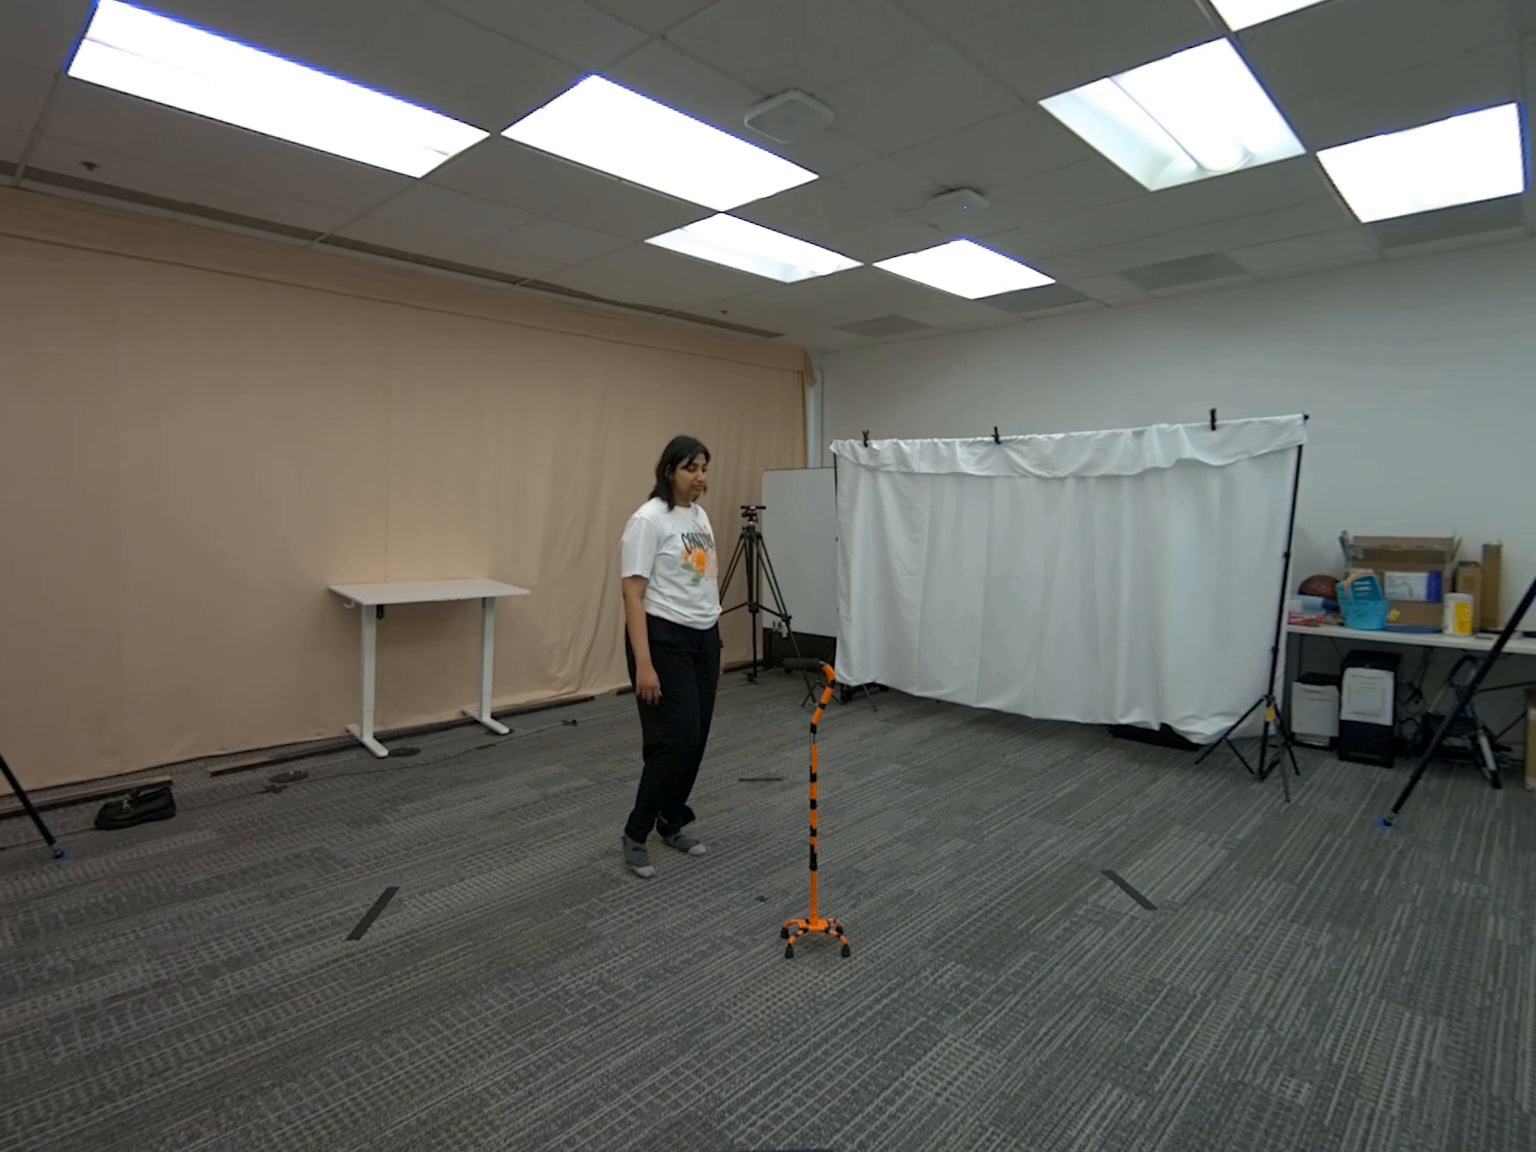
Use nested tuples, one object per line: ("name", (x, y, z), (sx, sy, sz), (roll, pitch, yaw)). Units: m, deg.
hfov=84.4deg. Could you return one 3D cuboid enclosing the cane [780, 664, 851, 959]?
("cane", (0.150, 0.721, 2.644), (0.206, 0.906, 0.152), (0, 2, -3))
